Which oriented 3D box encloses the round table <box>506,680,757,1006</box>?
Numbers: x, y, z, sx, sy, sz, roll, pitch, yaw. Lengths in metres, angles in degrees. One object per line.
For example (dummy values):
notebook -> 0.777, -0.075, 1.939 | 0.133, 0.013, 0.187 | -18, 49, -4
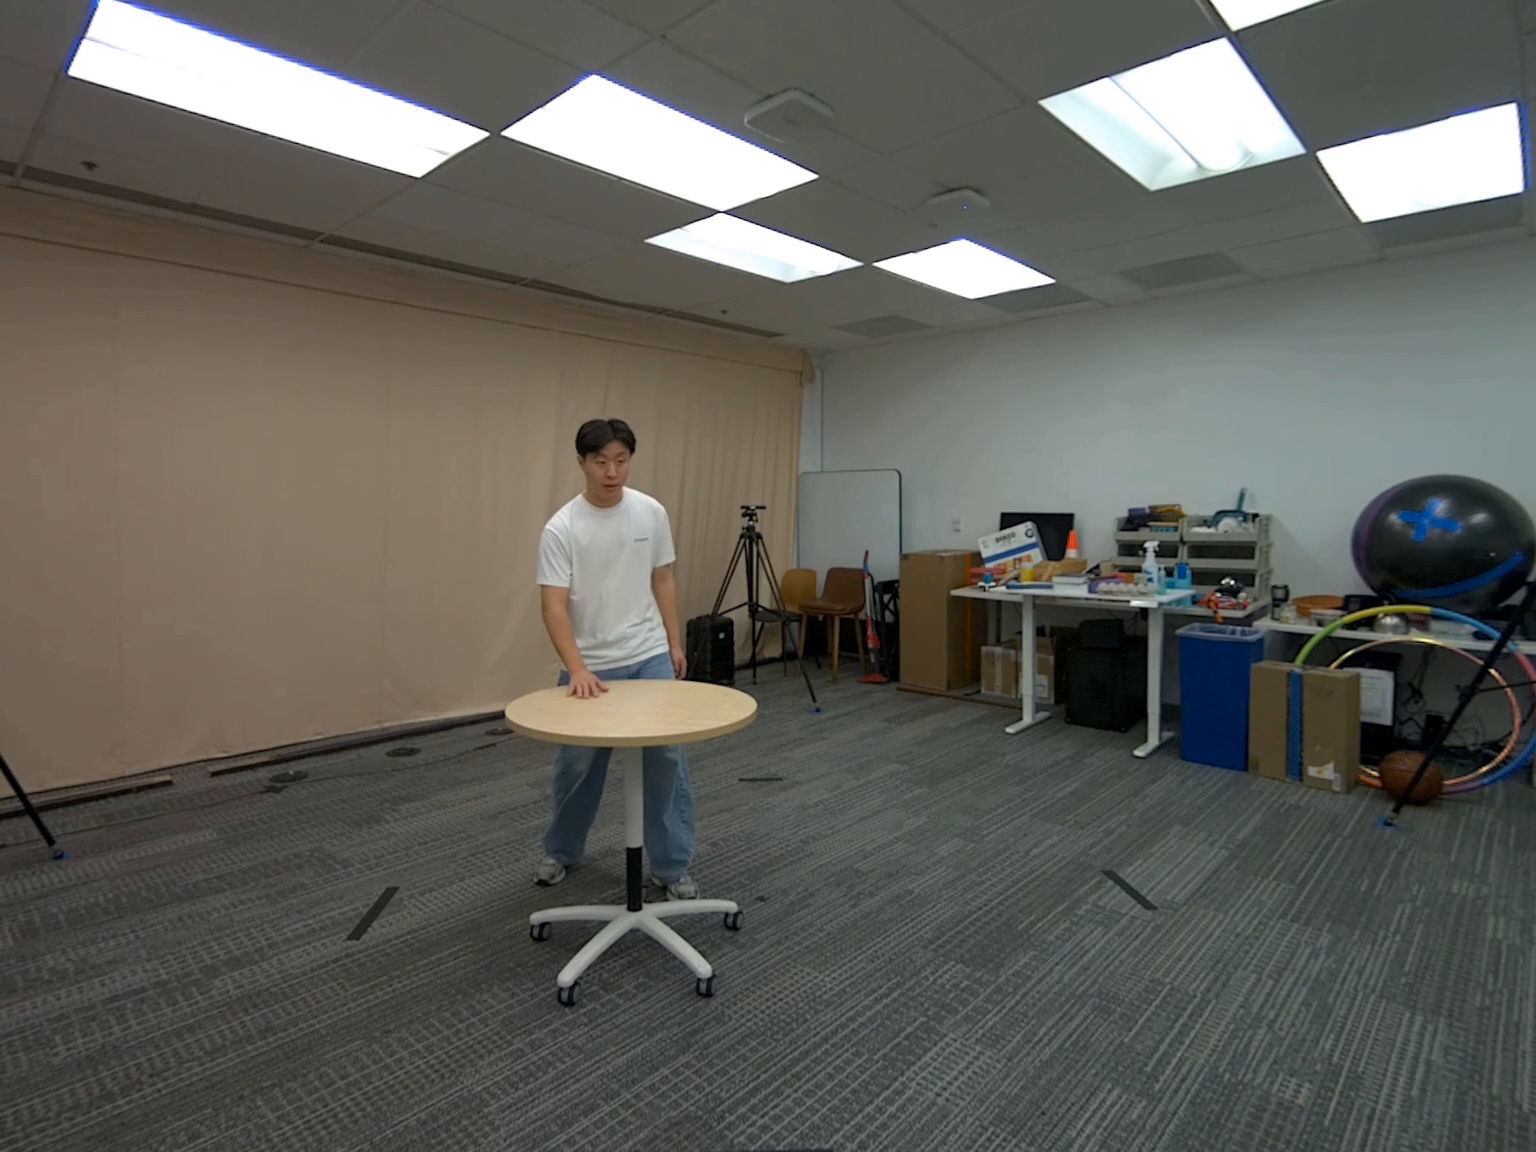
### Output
round table -> -0.402, 0.787, 2.609 | 0.763, 0.792, 0.766 | 0, 4, -2
